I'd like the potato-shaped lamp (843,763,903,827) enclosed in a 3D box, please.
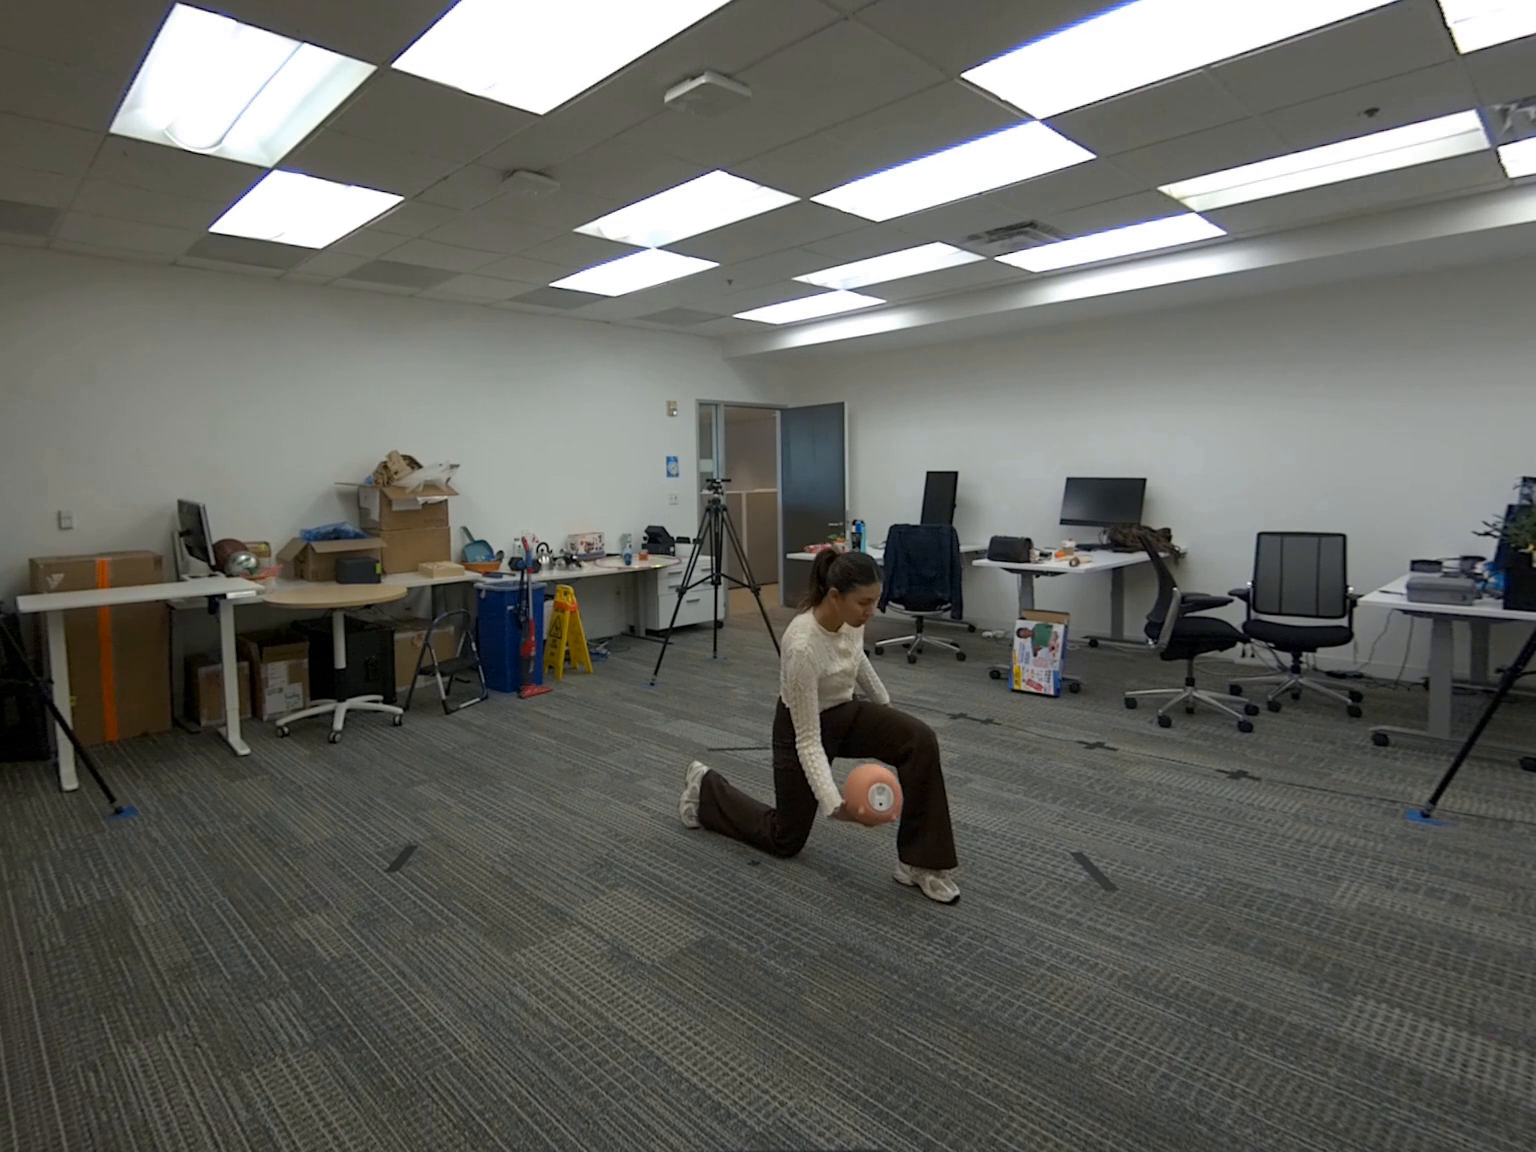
[{"bbox_3d":[0.303,0.665,2.588,0.163,0.173,0.198,21,-20,-11],"label":"potato-shaped lamp"}]
